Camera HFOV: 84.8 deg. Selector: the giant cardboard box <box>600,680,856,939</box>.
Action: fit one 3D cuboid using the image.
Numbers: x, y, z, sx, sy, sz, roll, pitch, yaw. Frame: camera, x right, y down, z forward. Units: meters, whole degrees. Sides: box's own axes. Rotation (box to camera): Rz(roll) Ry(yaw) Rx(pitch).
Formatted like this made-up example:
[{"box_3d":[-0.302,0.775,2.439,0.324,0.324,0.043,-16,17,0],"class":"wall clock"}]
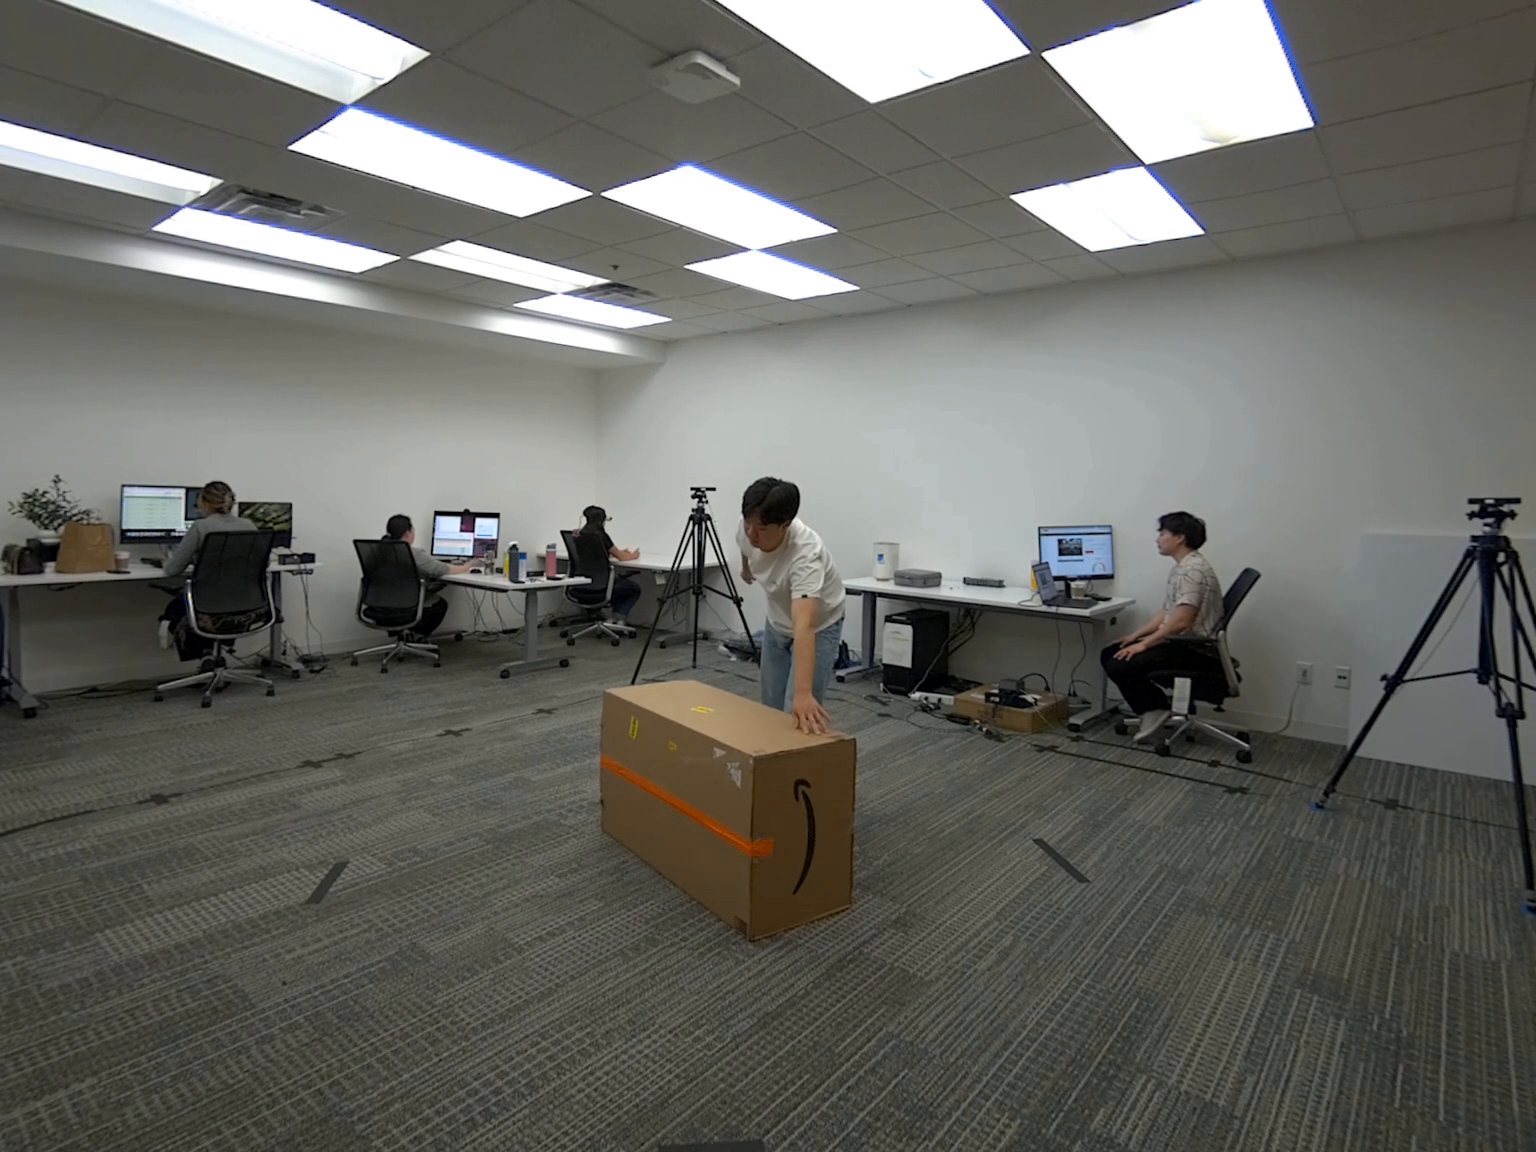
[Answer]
[{"box_3d":[-0.205,0.778,3.118,0.413,0.576,1.060,-1,5,-36],"class":"giant cardboard box"}]
